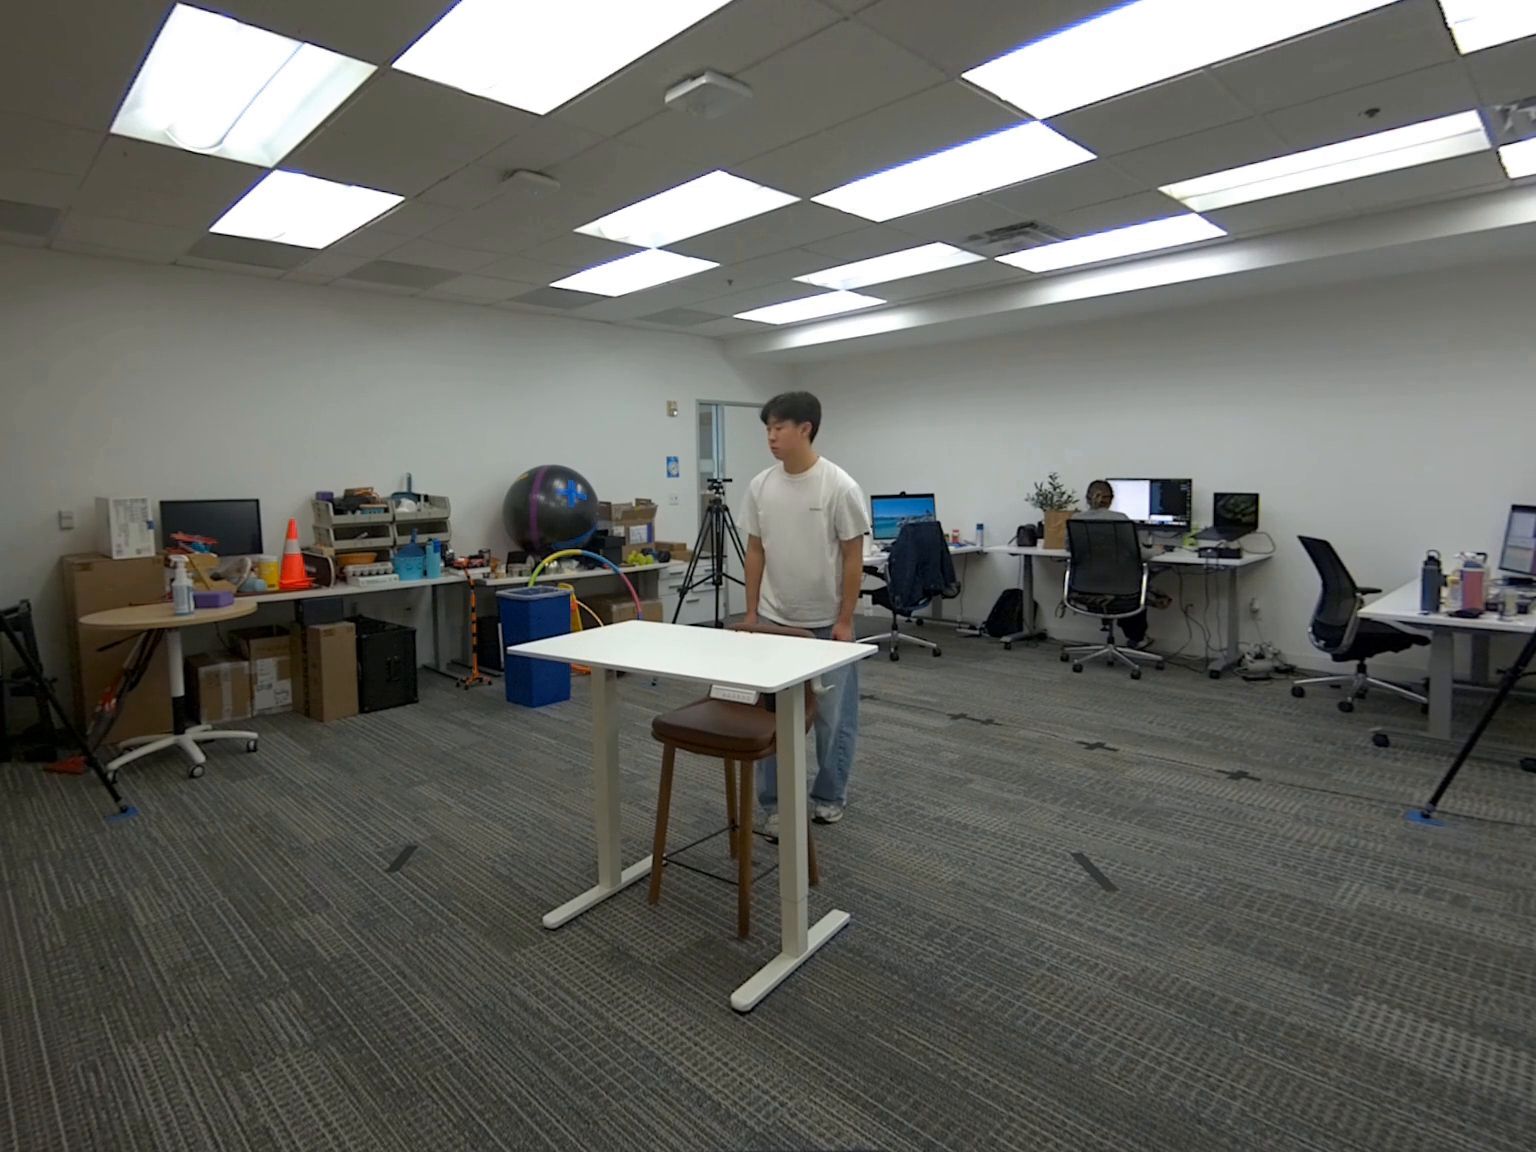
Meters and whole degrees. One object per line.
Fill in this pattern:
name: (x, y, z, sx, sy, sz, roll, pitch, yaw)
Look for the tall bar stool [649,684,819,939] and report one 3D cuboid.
tall bar stool: (-0.106, 0.636, 2.871, 0.470, 0.888, 0.454, 3, 3, 38)
